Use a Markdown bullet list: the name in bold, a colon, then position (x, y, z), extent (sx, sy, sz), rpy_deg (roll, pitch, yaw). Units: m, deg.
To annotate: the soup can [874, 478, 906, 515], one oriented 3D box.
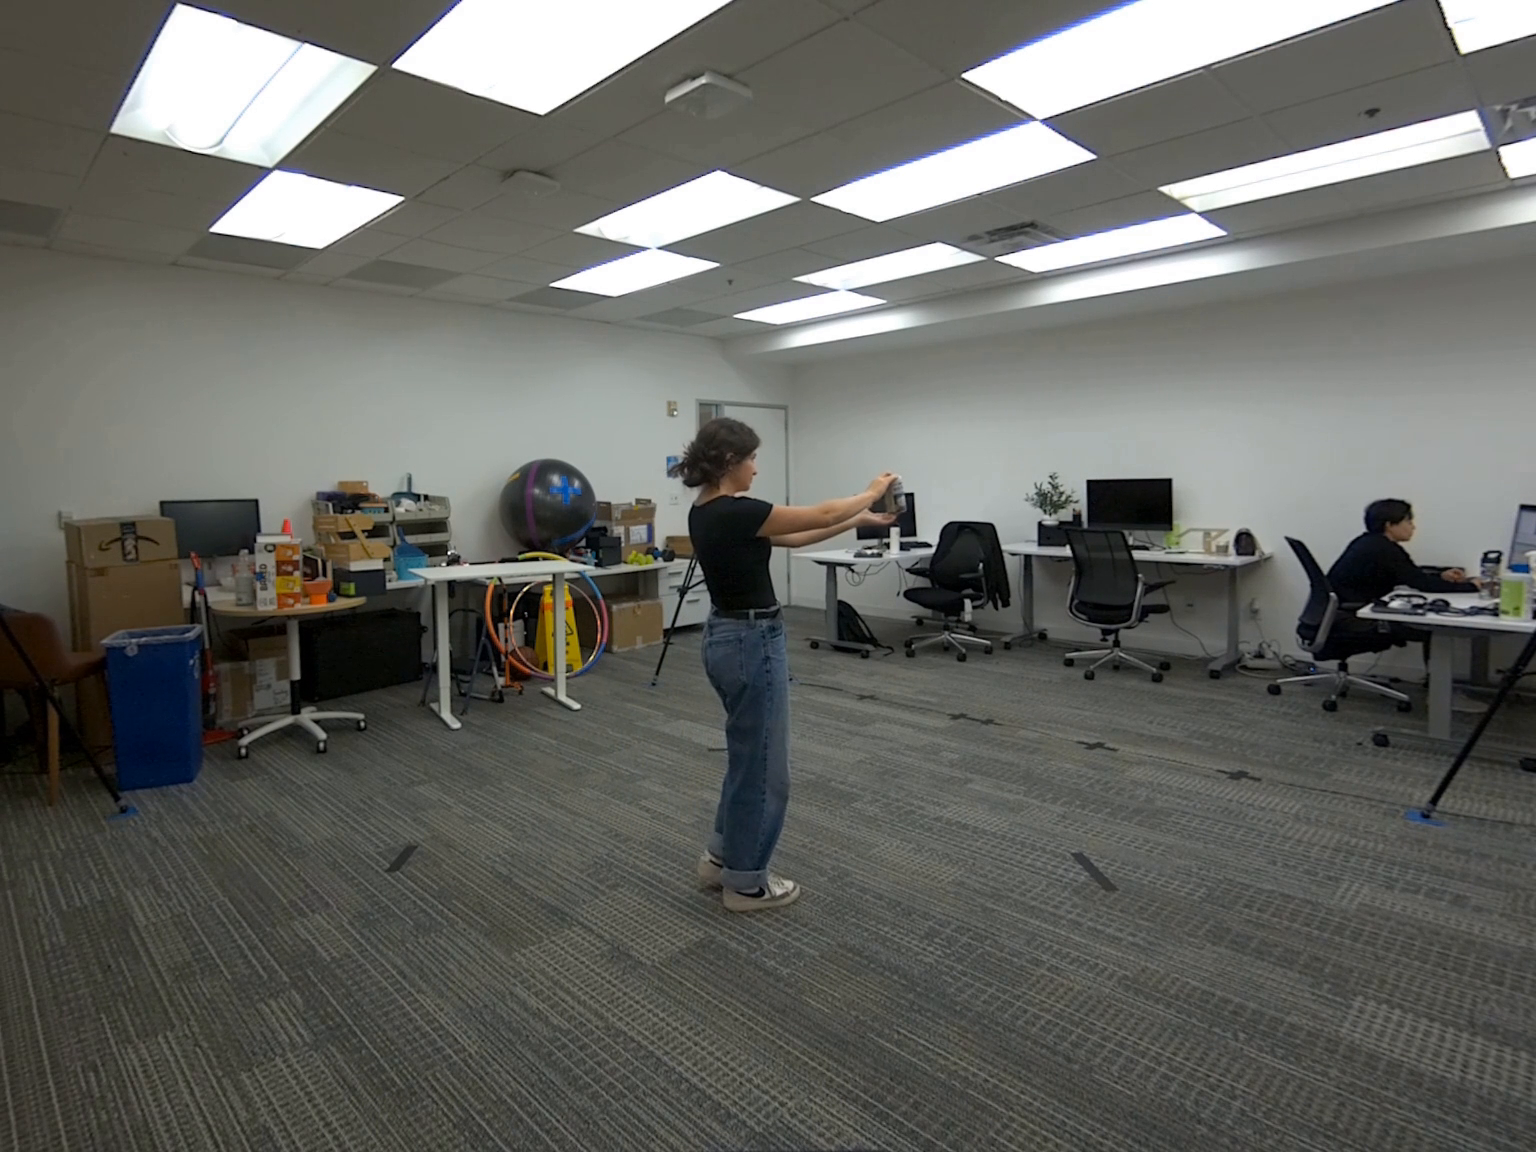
- **soup can**: position (0.436, -0.280, 2.921), extent (0.067, 0.120, 0.068), rpy_deg (-8, 12, 0)
